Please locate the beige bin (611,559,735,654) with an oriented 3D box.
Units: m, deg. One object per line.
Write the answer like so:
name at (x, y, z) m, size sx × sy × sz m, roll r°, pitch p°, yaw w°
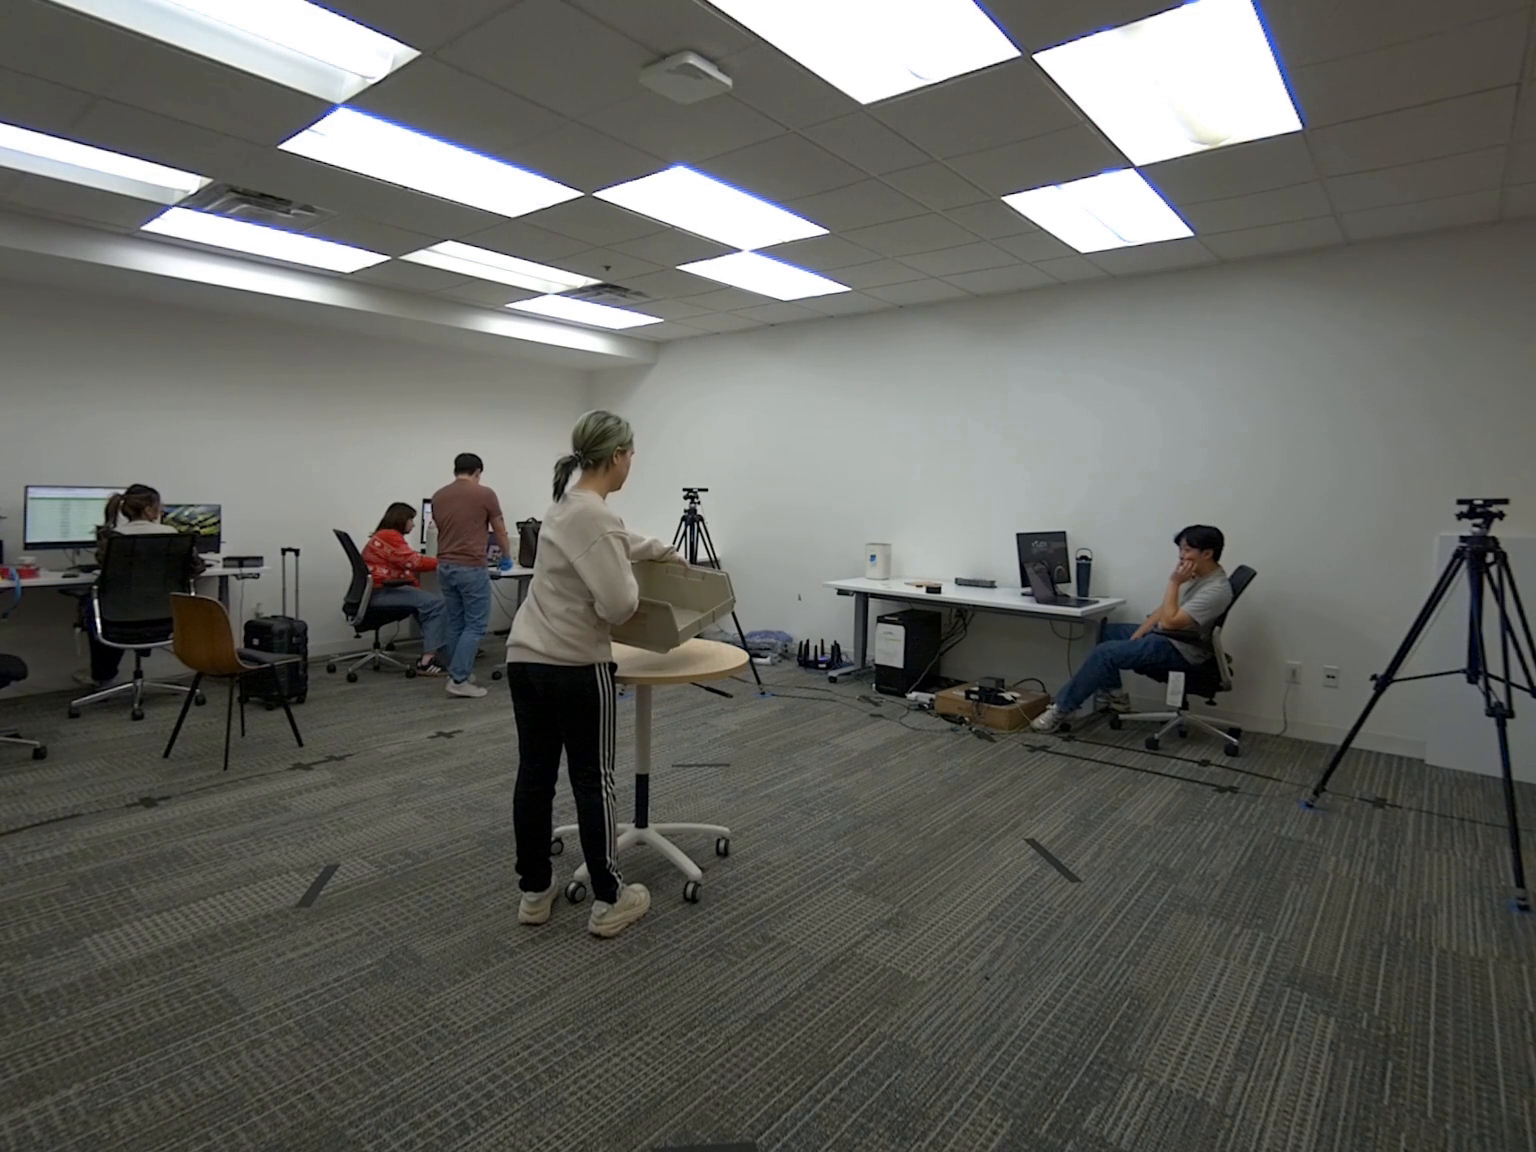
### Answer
beige bin at (-0.381, 0.099, 3.003) m, size 0.388 × 0.186 × 0.417 m, roll 9°, pitch 19°, yaw 24°
